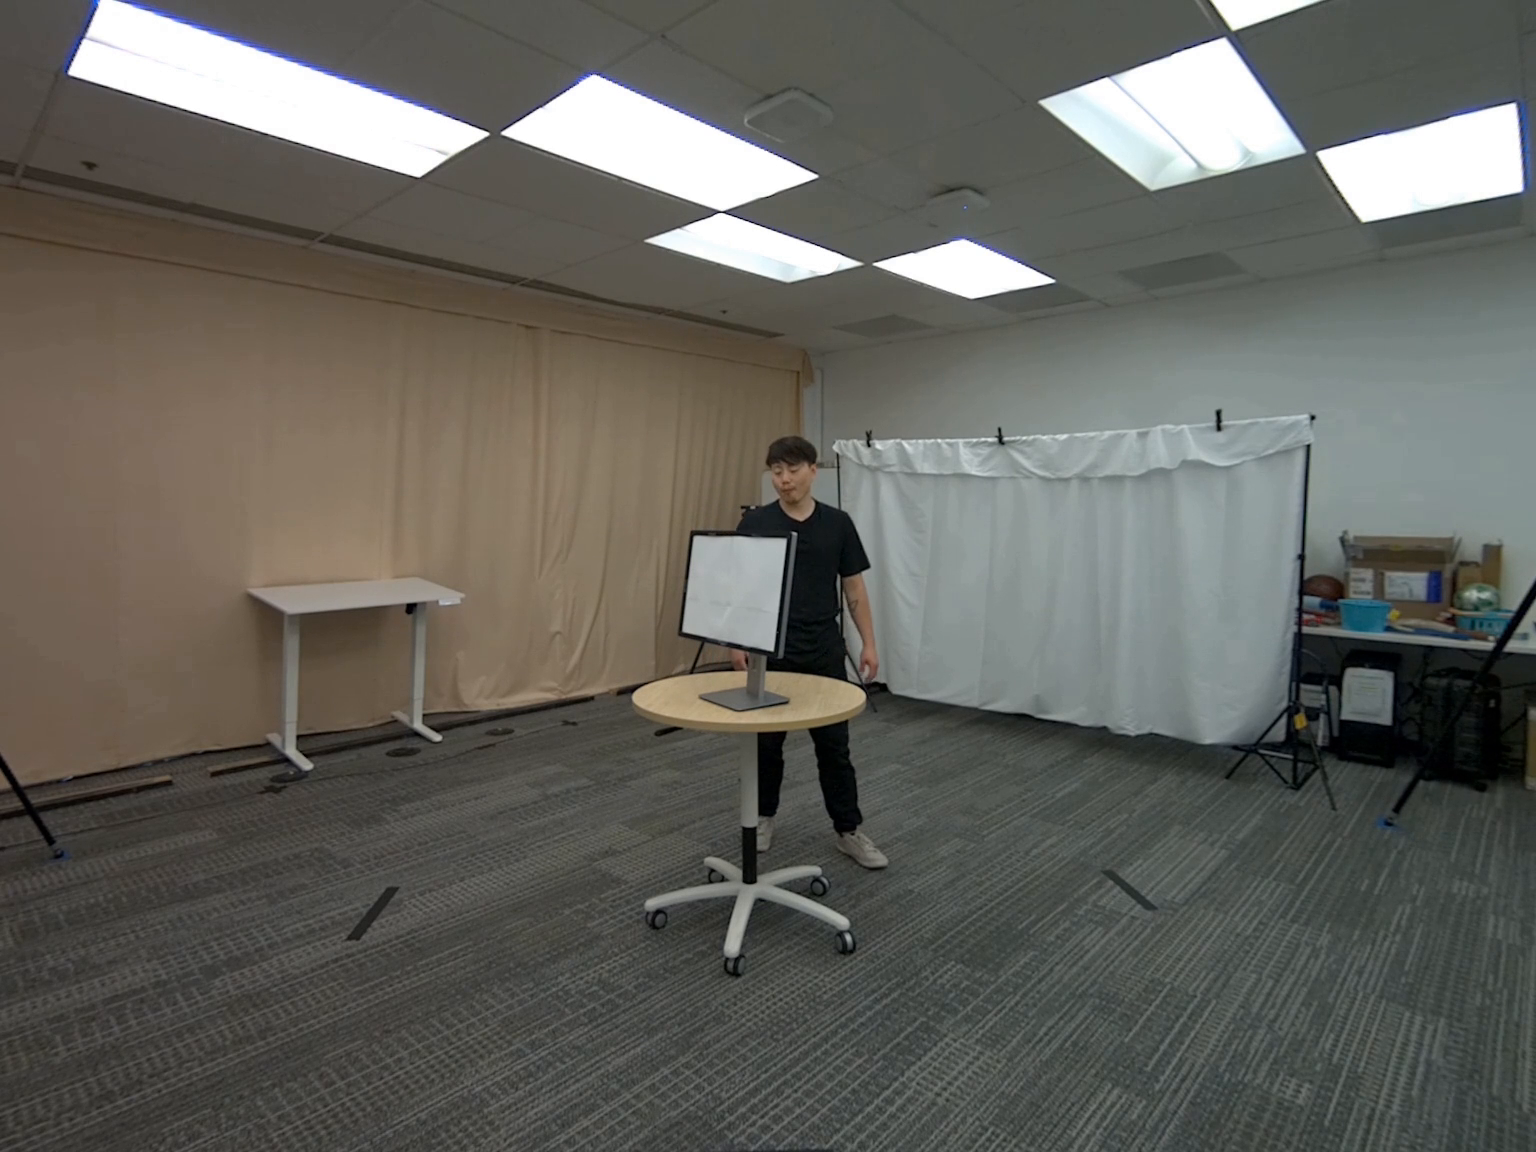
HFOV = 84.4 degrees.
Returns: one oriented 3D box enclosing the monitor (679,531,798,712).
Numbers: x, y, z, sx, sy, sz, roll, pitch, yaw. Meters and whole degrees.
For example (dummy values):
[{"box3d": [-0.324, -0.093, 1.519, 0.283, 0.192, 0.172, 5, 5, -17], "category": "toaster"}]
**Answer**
[{"box3d": [-0.077, 0.135, 2.668, 0.182, 0.521, 0.556, -4, 5, -37], "category": "monitor"}]
